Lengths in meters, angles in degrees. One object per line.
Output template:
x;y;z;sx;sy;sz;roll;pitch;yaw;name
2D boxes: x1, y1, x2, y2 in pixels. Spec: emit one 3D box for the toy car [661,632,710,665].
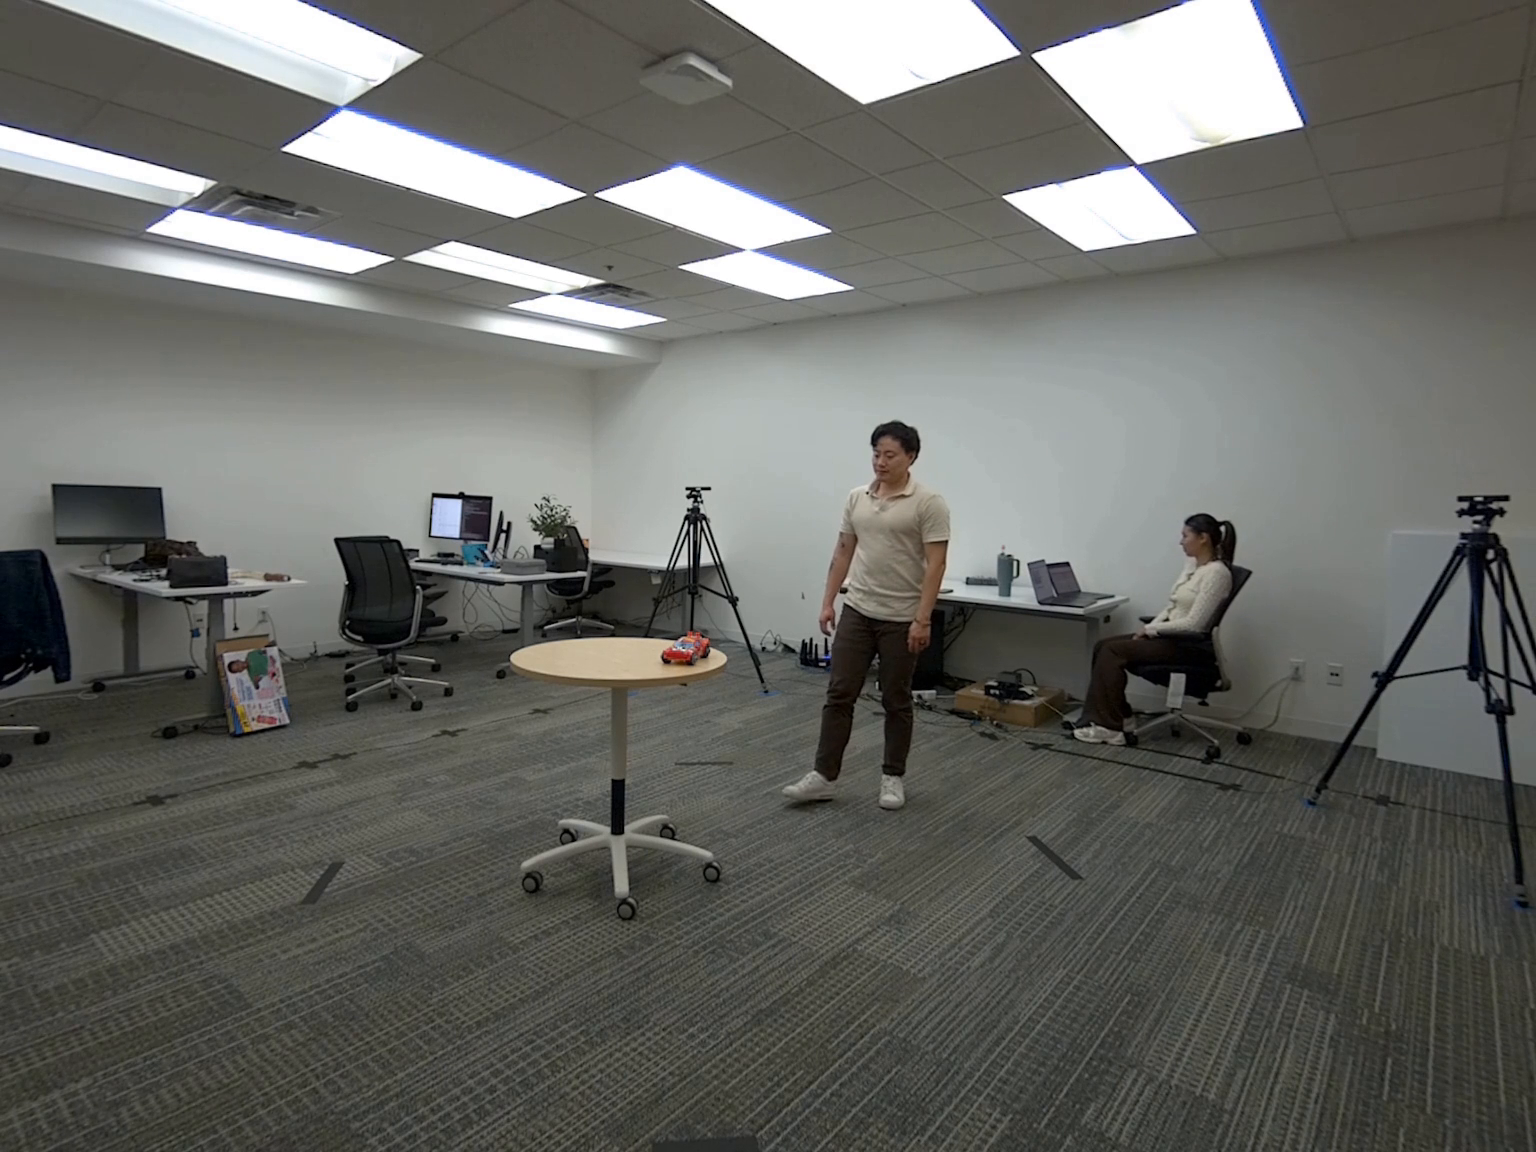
-0.290;0.260;3.010;0.133;0.082;0.254;2;17;16;toy car
